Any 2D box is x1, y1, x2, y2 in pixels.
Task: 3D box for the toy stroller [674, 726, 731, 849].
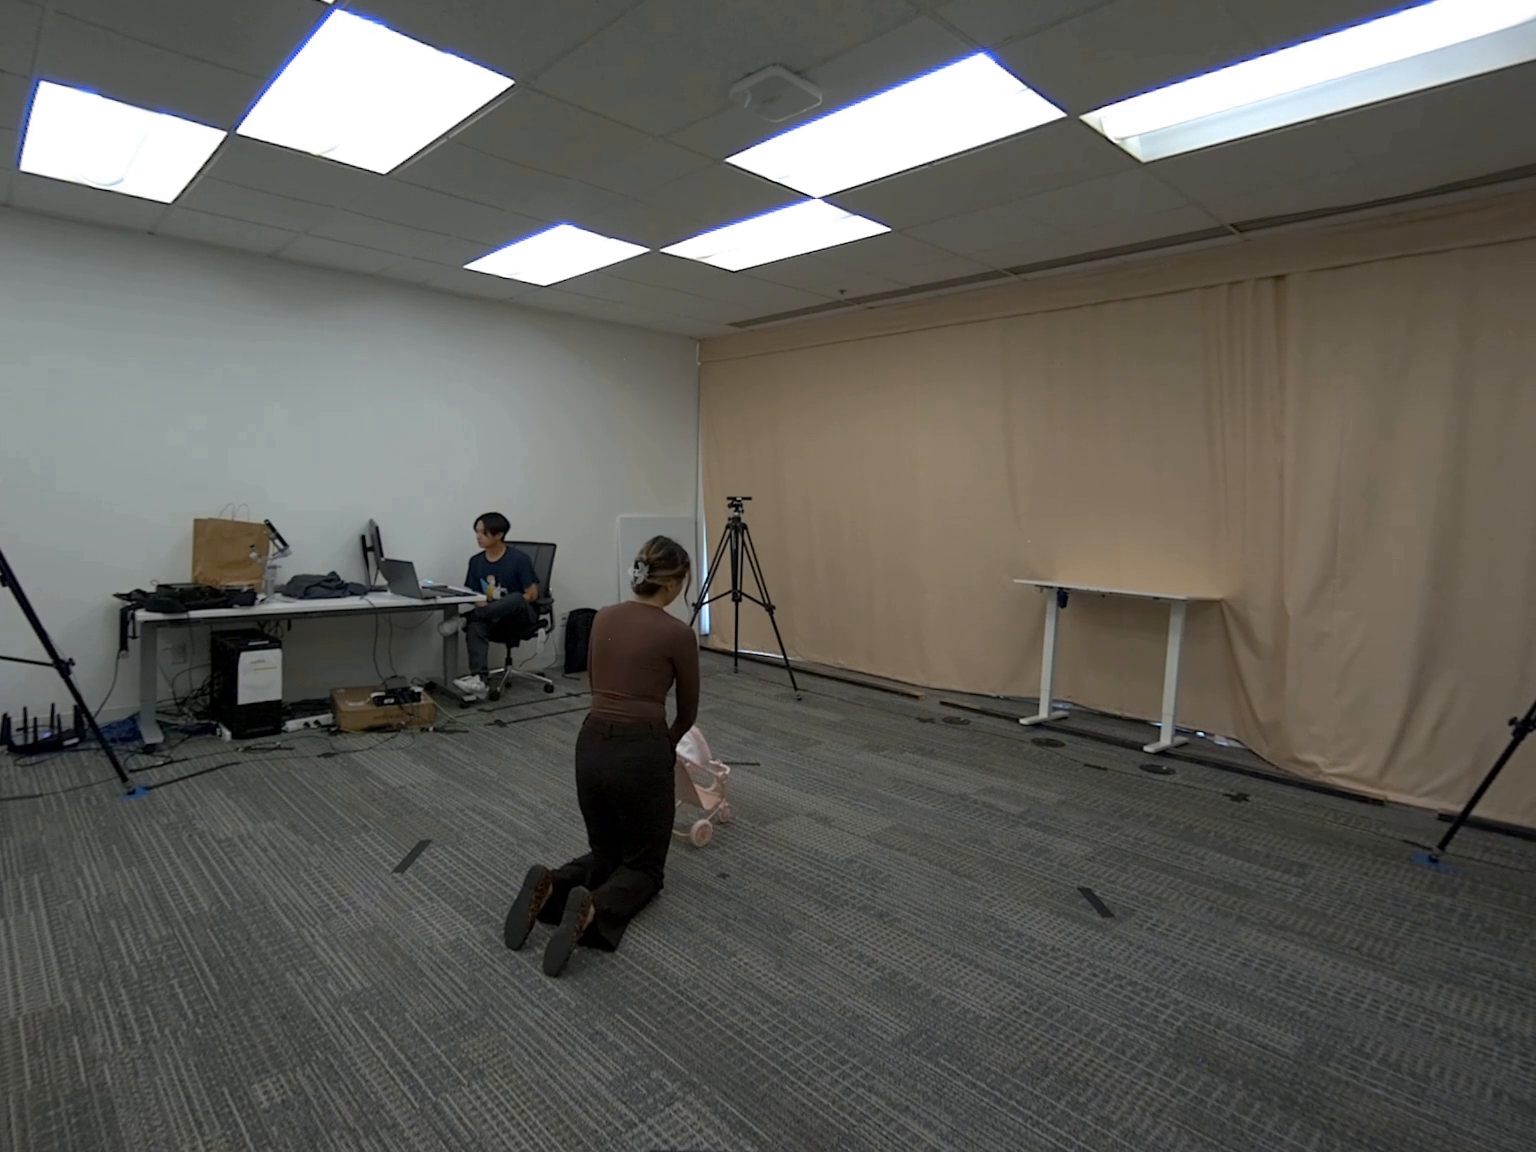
[{"bbox_3d":[-0.318,0.846,3.471,0.337,0.528,0.289,-23,20,-39],"label":"toy stroller"}]
